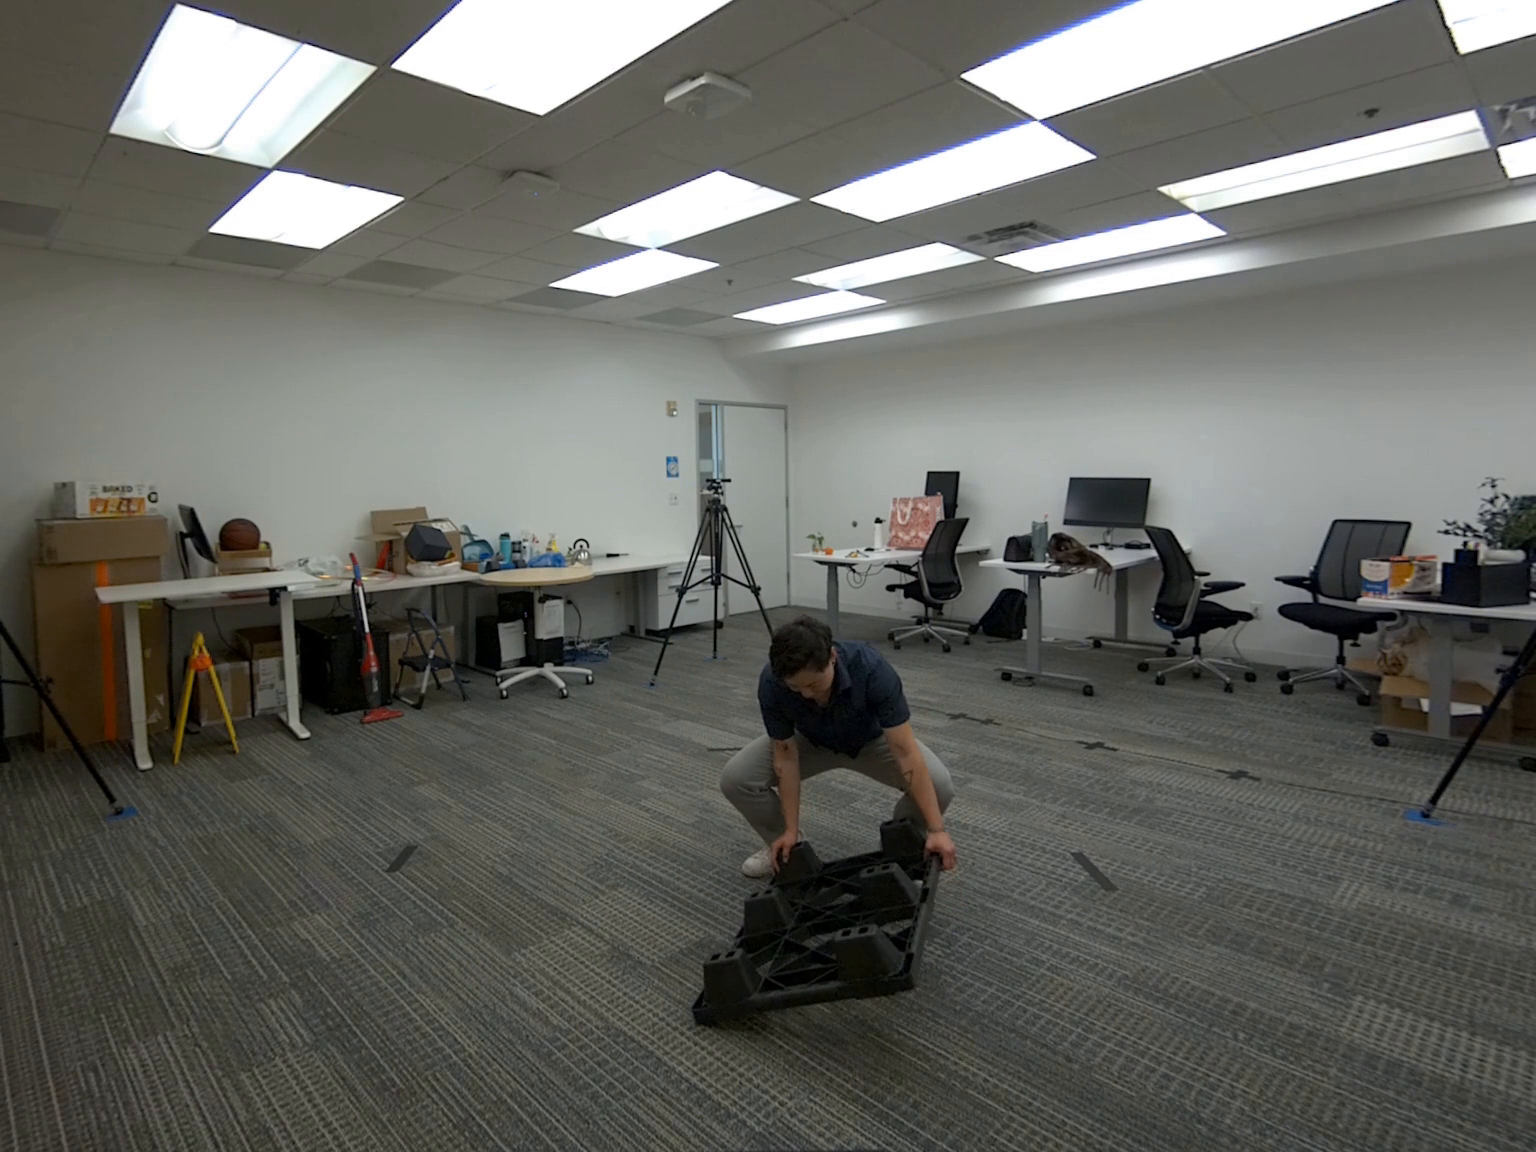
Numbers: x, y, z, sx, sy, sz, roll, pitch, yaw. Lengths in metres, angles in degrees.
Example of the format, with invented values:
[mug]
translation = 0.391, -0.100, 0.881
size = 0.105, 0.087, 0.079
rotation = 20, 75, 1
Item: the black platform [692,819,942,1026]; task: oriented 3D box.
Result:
[black platform]
translation = 0.174, 0.959, 2.460
size = 0.612, 0.143, 0.796
rotation = -20, 2, 19
